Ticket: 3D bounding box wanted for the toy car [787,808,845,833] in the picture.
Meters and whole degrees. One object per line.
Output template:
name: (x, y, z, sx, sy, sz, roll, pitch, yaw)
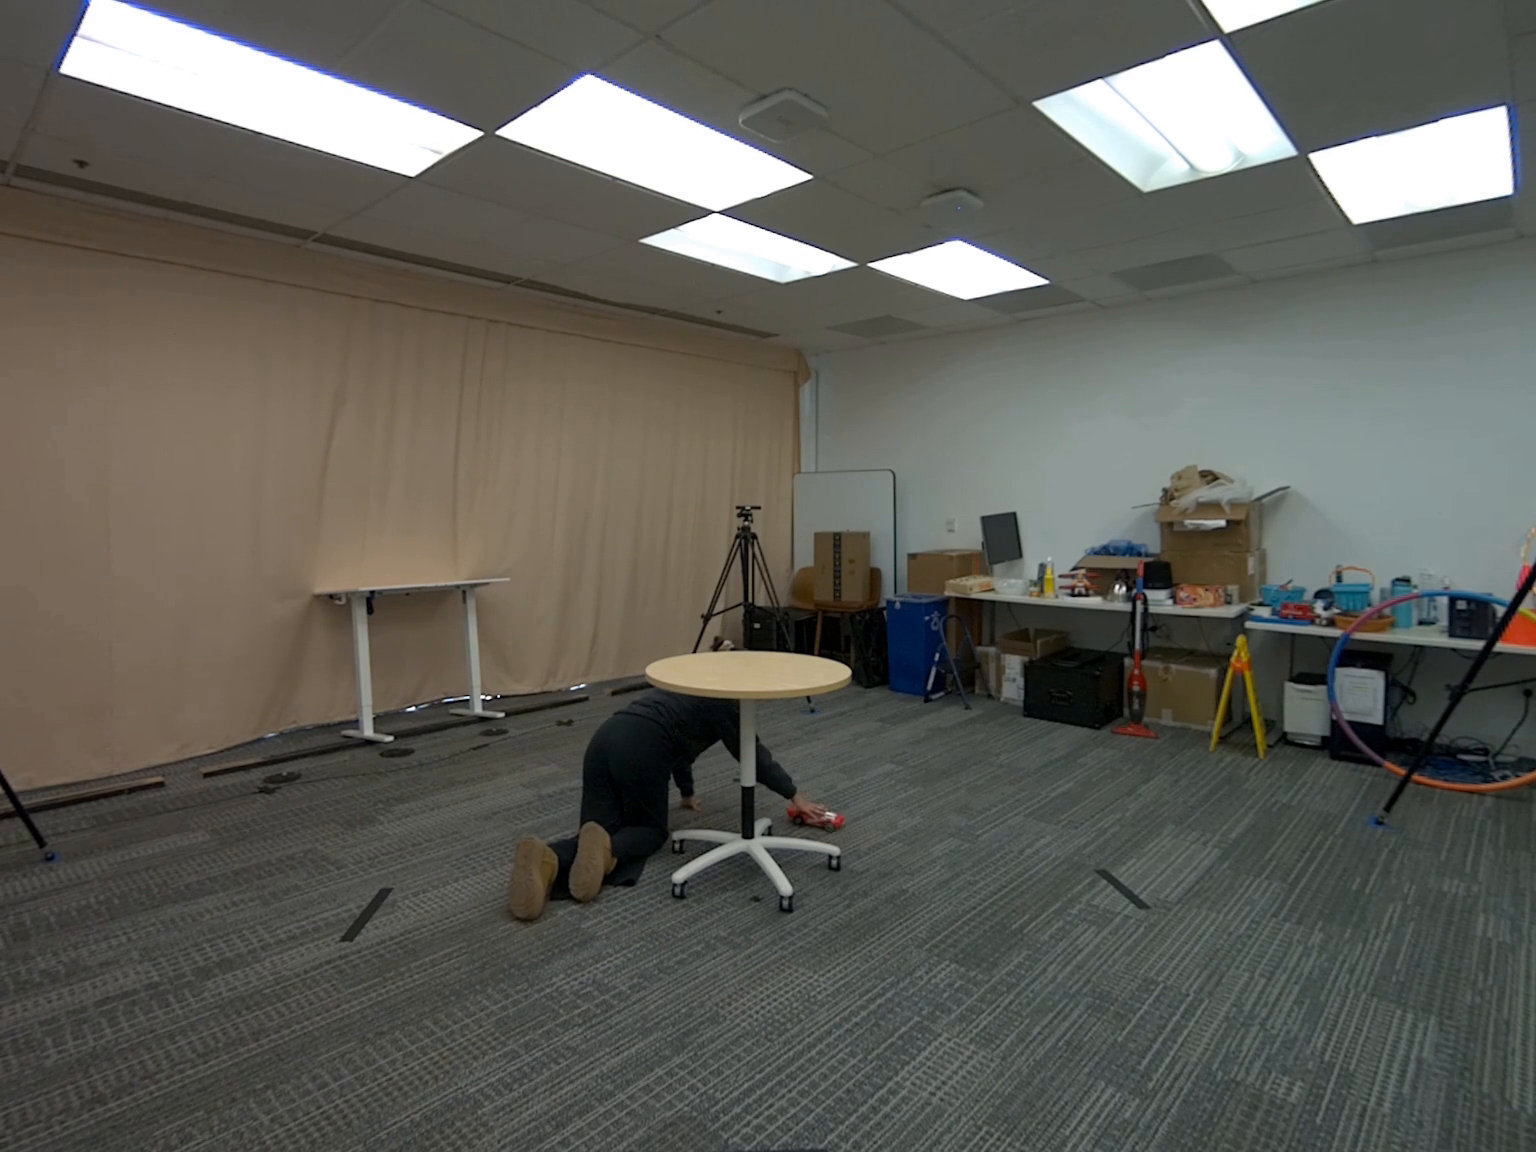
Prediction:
toy car: (0.221, 1.048, 3.683, 0.262, 0.083, 0.127, 15, 11, 27)
